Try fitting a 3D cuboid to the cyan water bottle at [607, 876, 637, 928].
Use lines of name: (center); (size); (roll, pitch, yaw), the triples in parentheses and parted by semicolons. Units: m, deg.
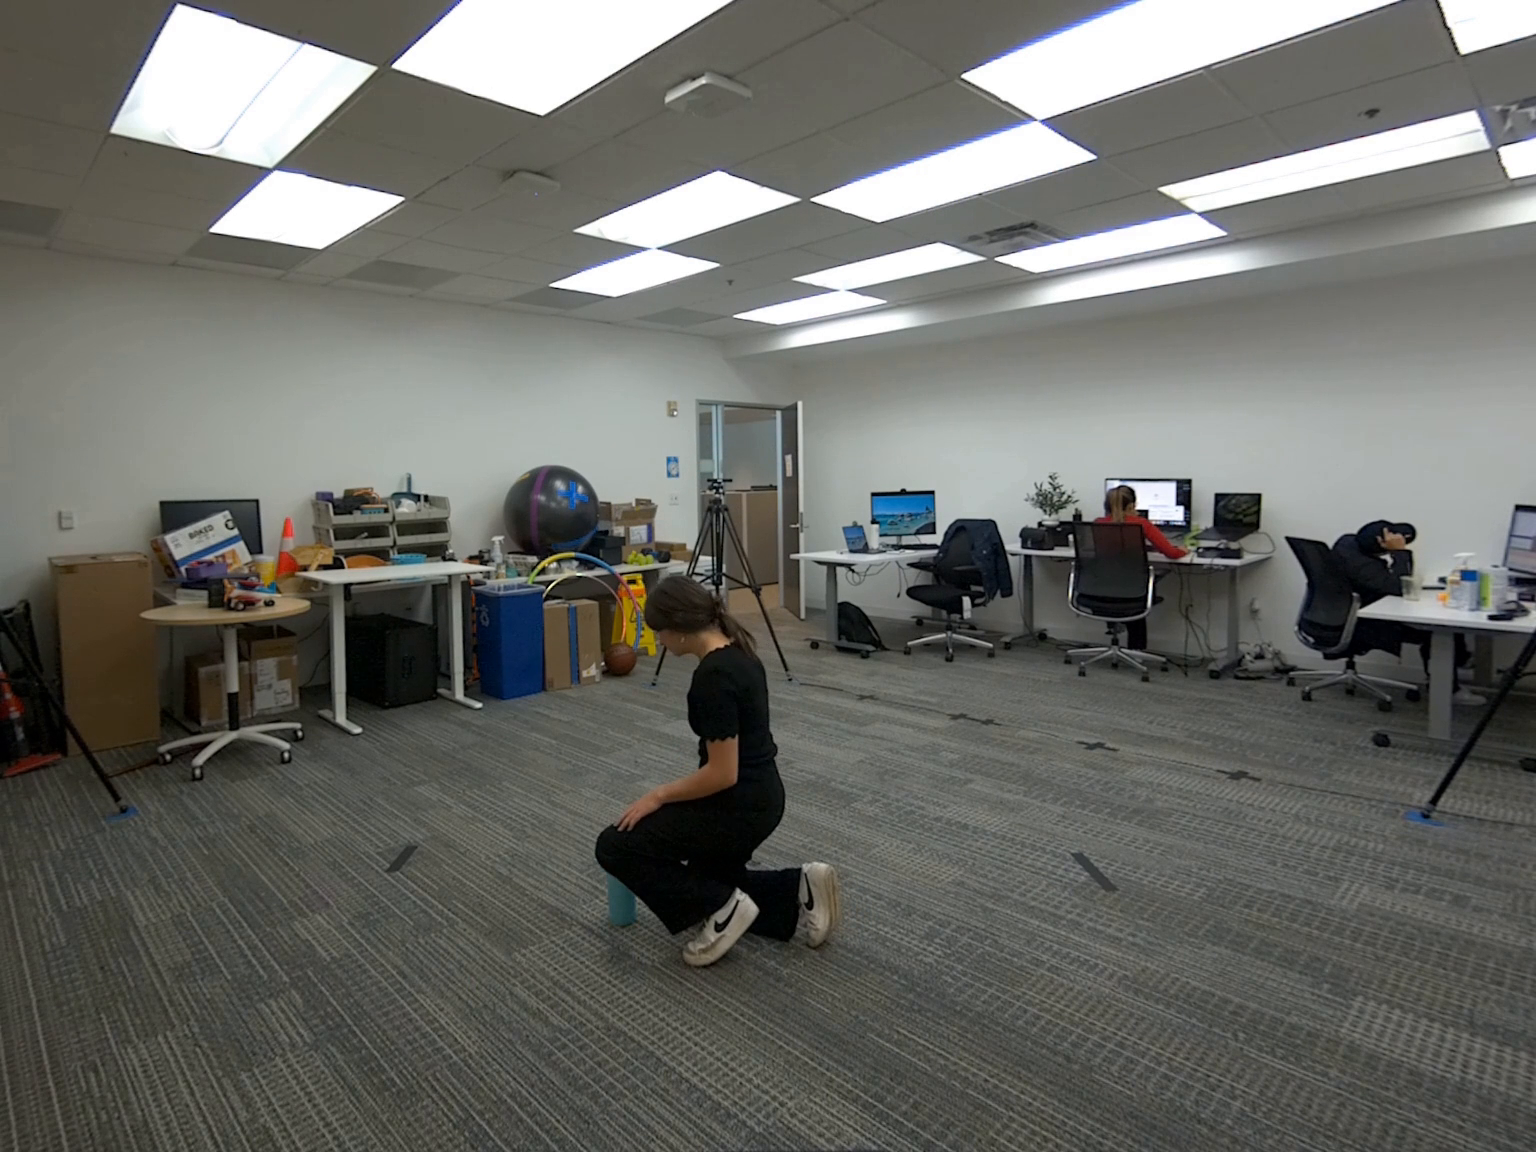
cyan water bottle: (-0.455, 0.963, 2.710); (0.092, 0.281, 0.093); (-1, 7, -2)
